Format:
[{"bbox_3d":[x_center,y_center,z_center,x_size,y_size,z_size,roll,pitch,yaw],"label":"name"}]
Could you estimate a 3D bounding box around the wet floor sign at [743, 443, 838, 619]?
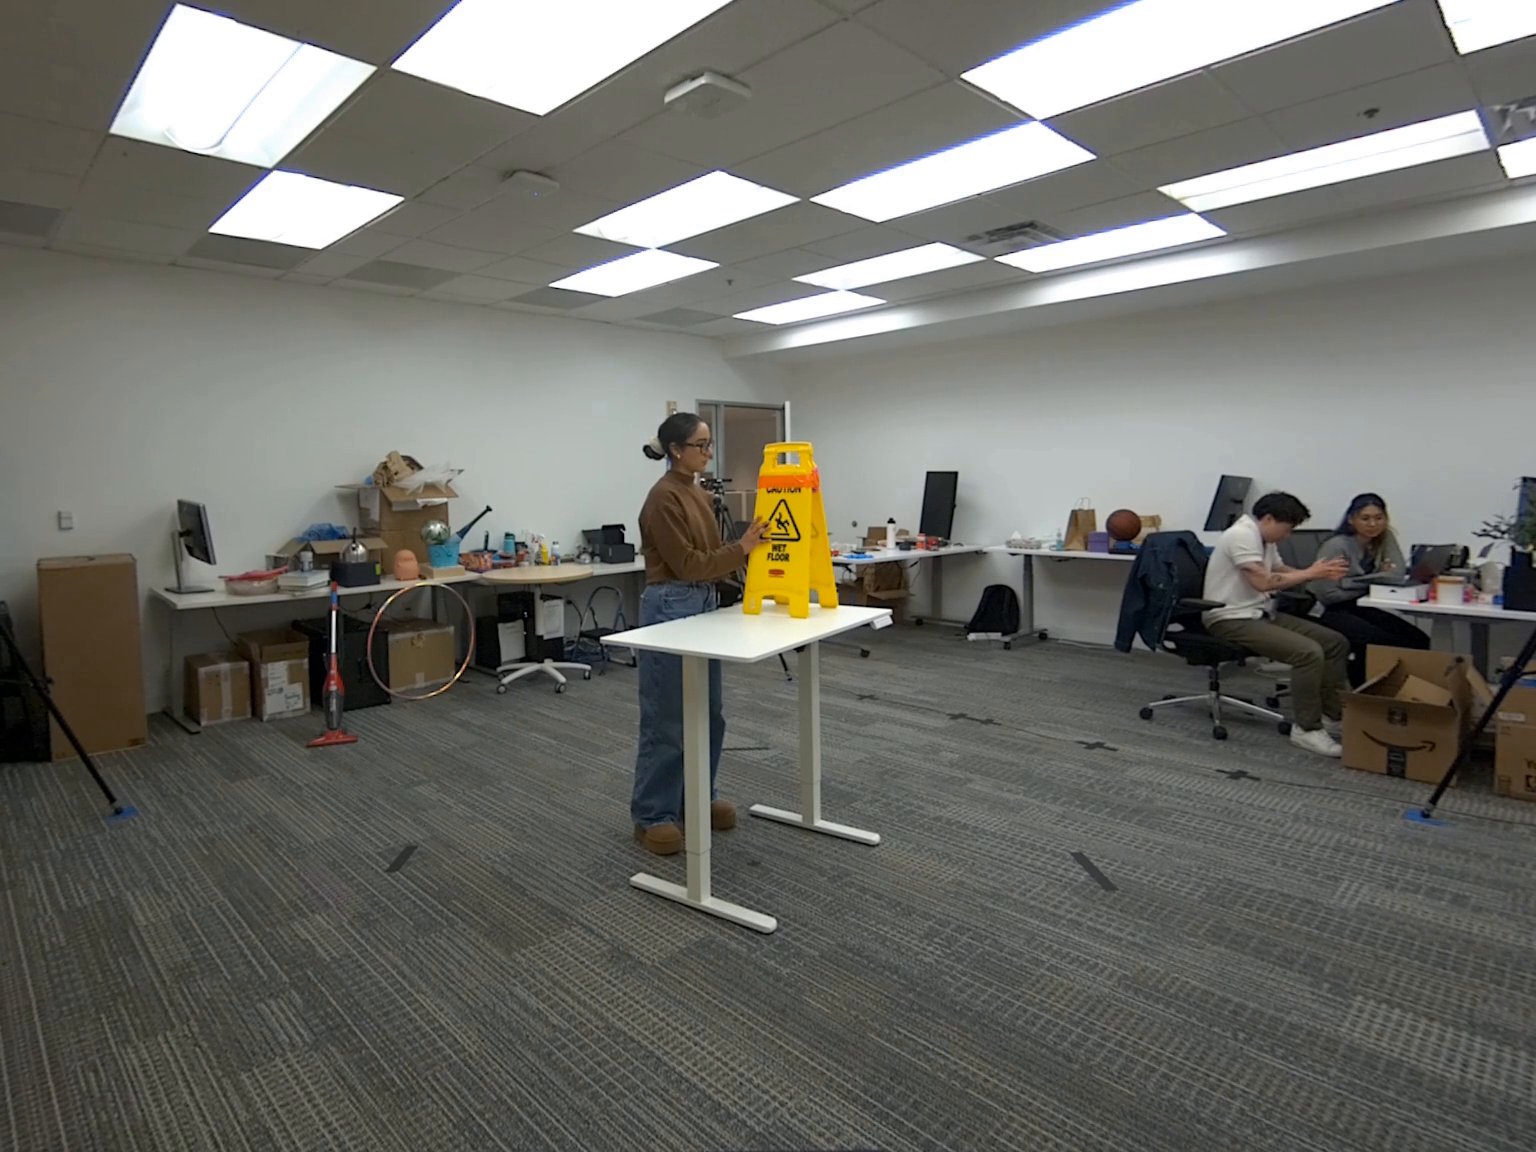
[{"bbox_3d":[0.082,-0.185,3.292,0.290,0.644,0.283,3,5,29],"label":"wet floor sign"}]
